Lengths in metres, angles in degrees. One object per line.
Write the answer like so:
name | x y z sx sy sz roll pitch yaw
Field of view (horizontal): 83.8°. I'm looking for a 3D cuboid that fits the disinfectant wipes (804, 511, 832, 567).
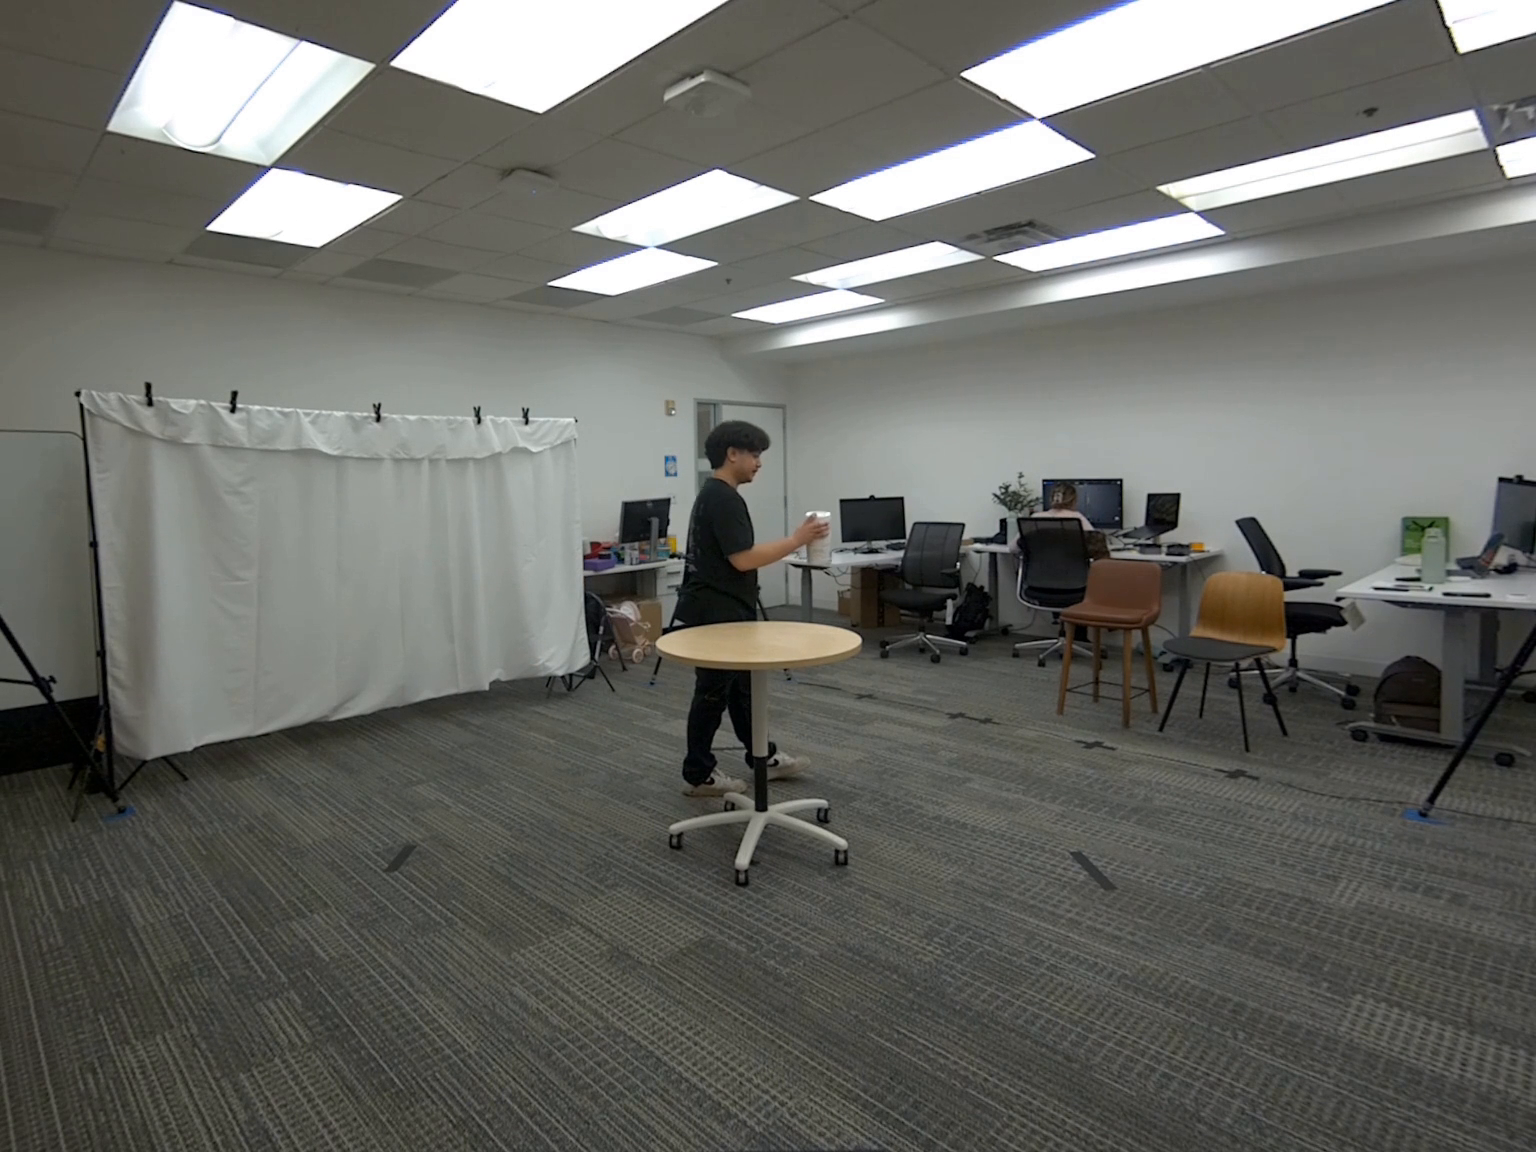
disinfectant wipes | 0.218 -0.159 3.643 0.118 0.215 0.119 -3 11 -1
